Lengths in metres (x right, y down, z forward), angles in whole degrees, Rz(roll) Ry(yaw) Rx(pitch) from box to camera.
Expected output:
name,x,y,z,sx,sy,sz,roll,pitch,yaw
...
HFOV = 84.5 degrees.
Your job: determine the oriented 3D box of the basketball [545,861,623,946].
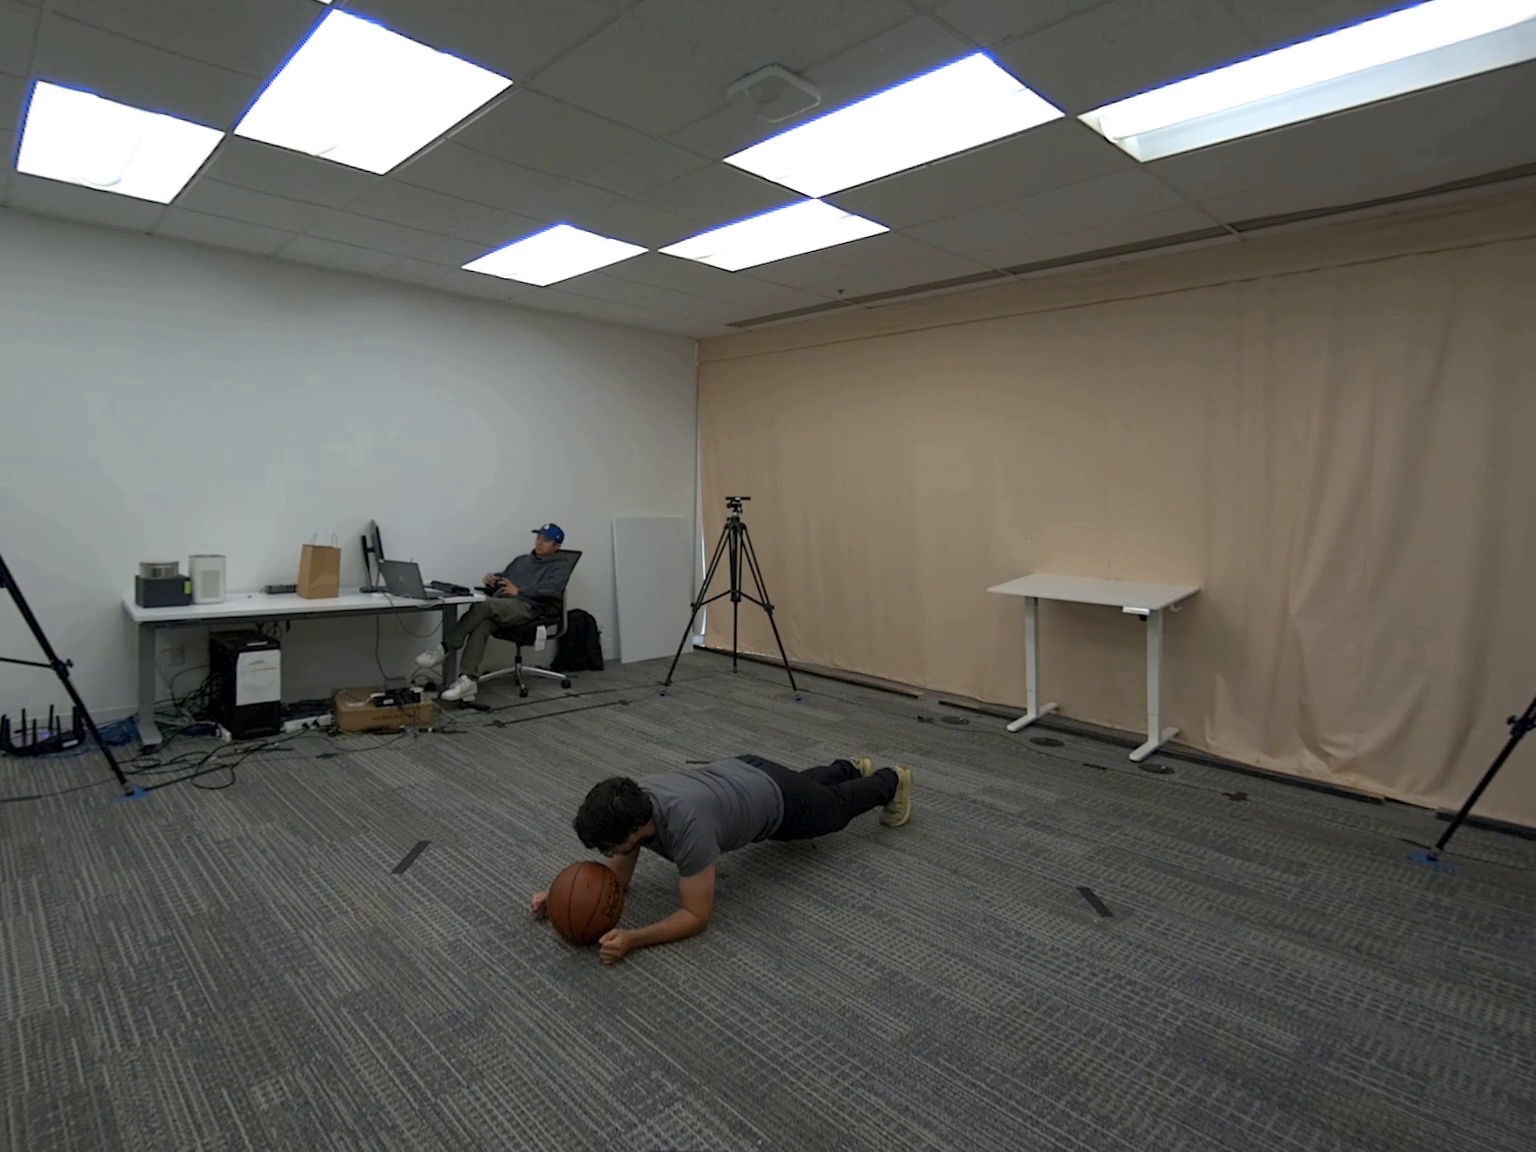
name,x,y,z,sx,sy,sz,roll,pitch,yaw
basketball,-0.578,1.022,2.632,0.236,0.235,0.237,1,4,-1
